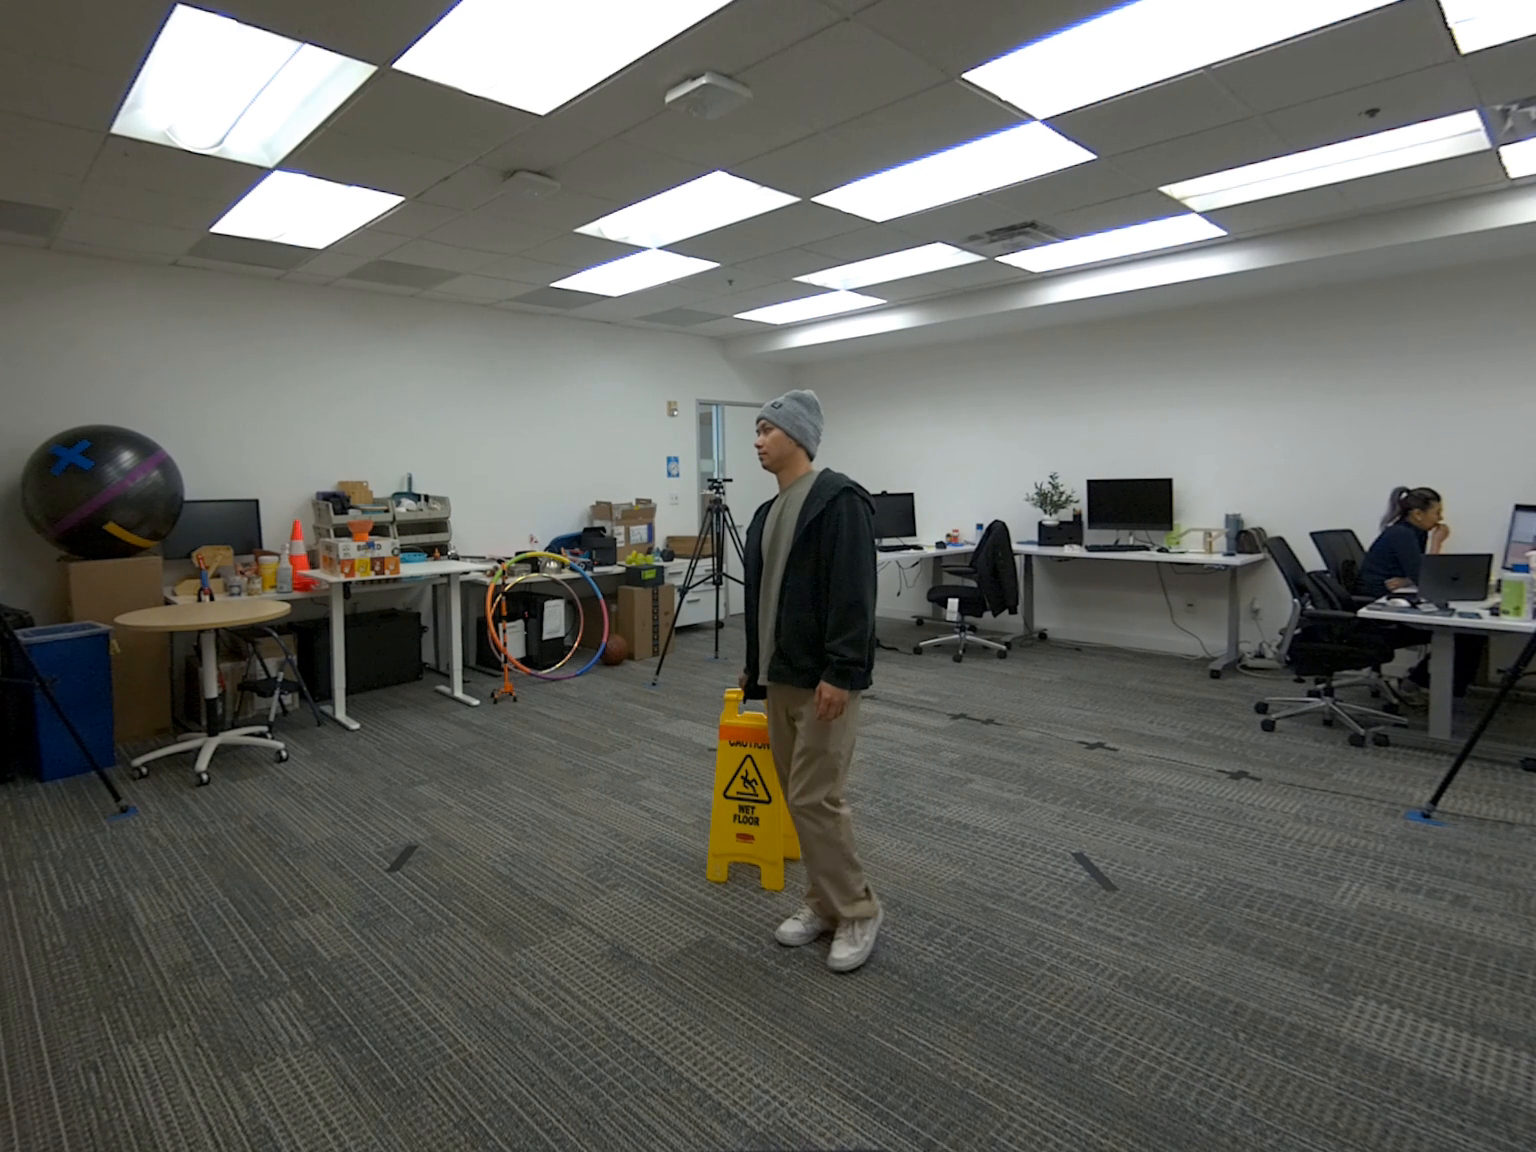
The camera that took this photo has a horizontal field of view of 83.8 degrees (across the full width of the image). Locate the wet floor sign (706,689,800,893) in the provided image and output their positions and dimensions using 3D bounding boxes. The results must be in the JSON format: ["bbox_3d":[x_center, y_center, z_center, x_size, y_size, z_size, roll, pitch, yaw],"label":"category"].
[{"bbox_3d":[-0.051,0.728,3.032,0.287,0.643,0.286,0,5,17],"label":"wet floor sign"}]
